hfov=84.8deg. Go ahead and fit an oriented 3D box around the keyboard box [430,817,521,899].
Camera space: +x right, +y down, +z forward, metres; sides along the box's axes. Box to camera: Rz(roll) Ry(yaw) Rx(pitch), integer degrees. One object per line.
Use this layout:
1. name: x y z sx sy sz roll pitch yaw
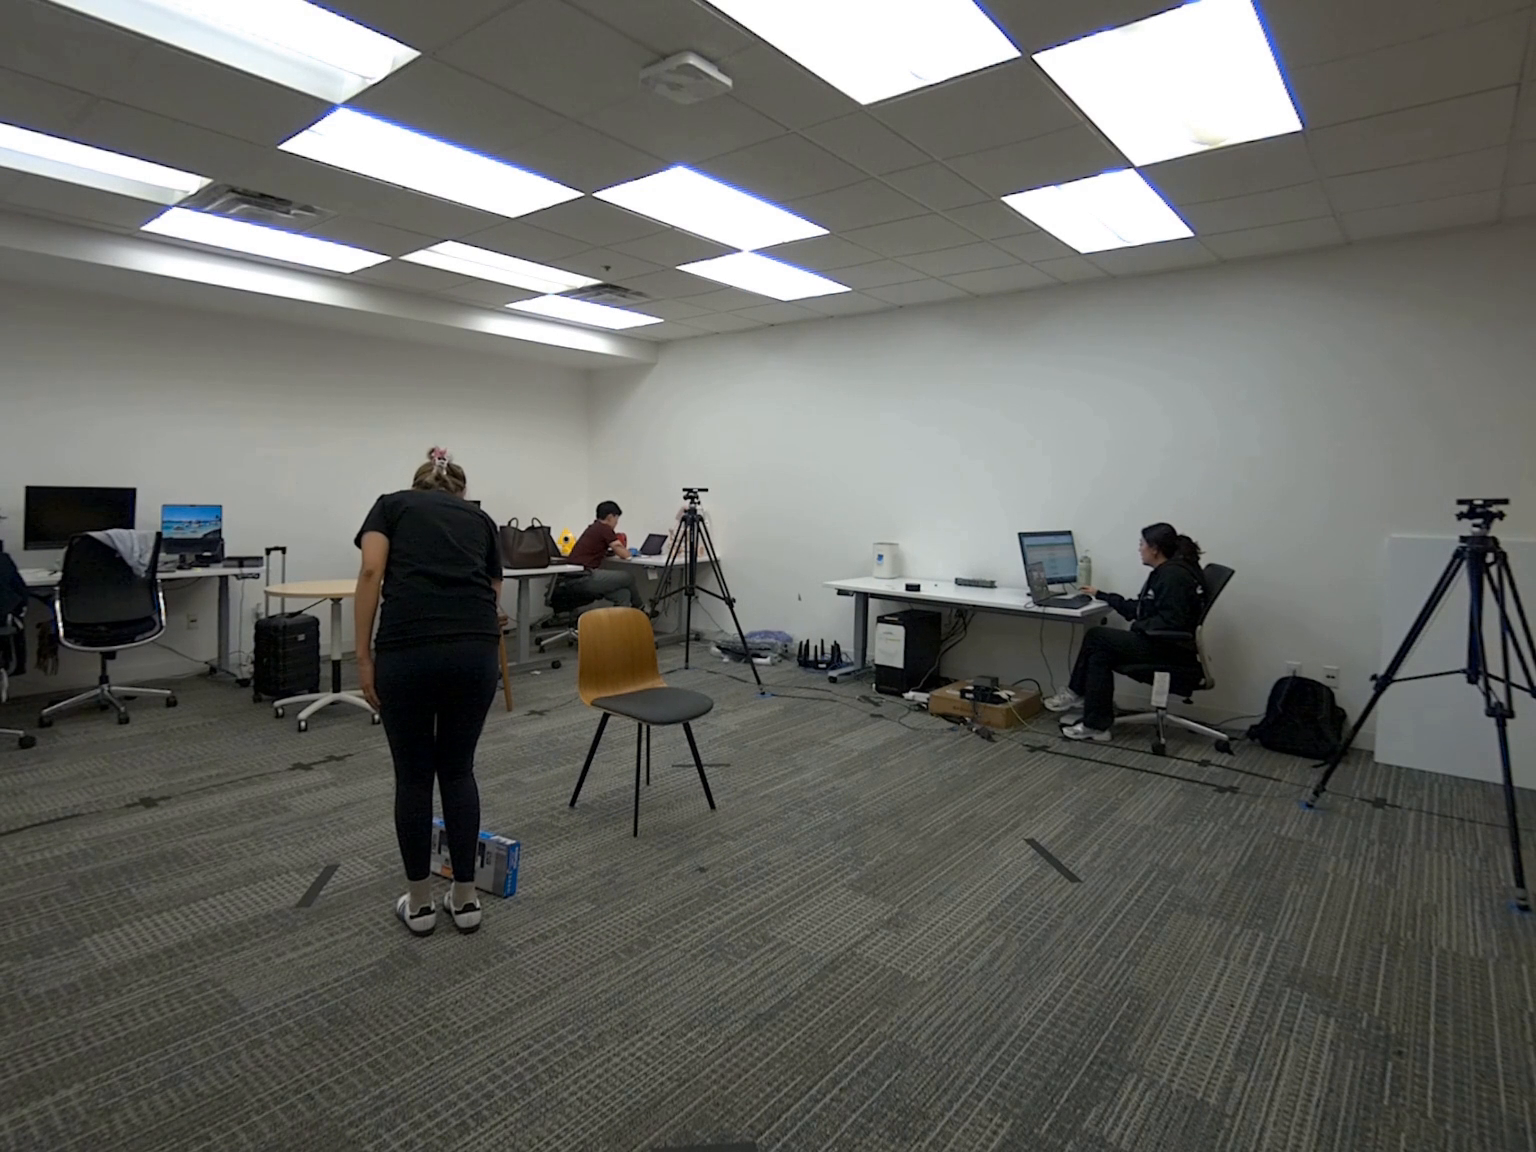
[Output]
1. keyboard box: -1.072 0.981 2.990 0.449 0.176 0.057 4 -2 29
